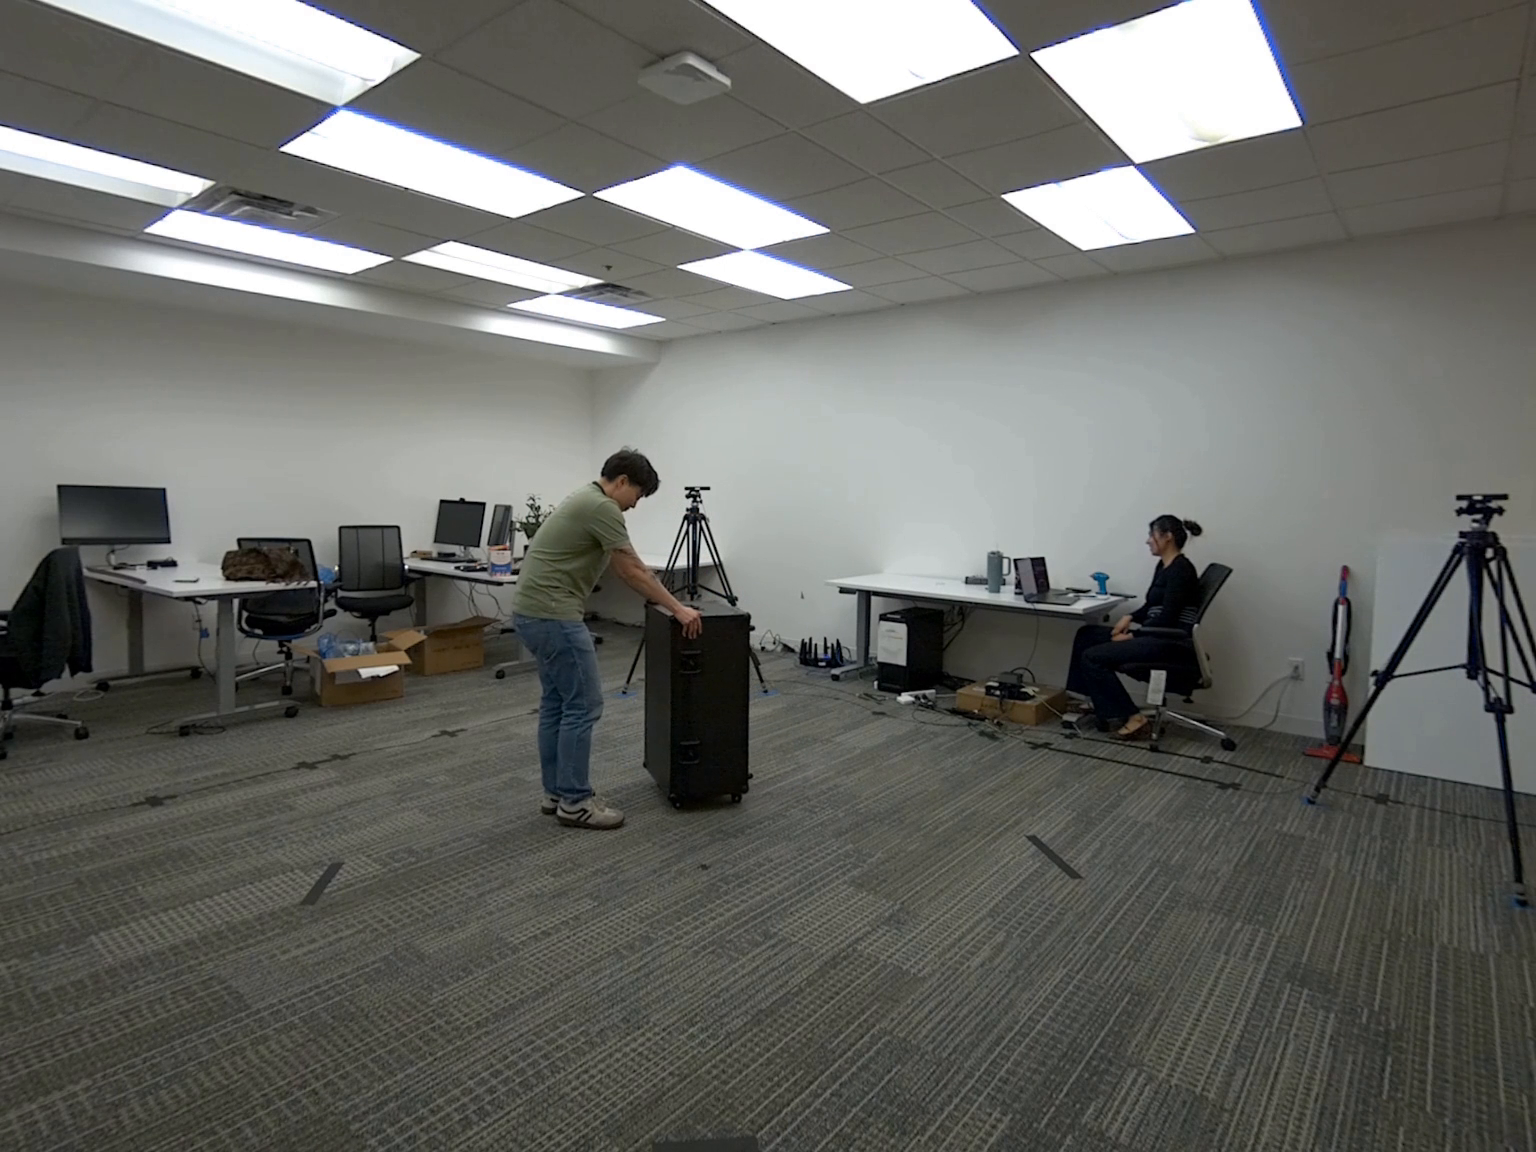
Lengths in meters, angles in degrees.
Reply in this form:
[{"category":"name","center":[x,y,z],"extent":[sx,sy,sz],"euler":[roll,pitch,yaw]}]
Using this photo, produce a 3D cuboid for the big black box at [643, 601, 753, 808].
[{"category":"big black box","center":[-0.333,0.566,3.849],"extent":[0.388,0.859,0.533],"euler":[1,3,-20]}]
